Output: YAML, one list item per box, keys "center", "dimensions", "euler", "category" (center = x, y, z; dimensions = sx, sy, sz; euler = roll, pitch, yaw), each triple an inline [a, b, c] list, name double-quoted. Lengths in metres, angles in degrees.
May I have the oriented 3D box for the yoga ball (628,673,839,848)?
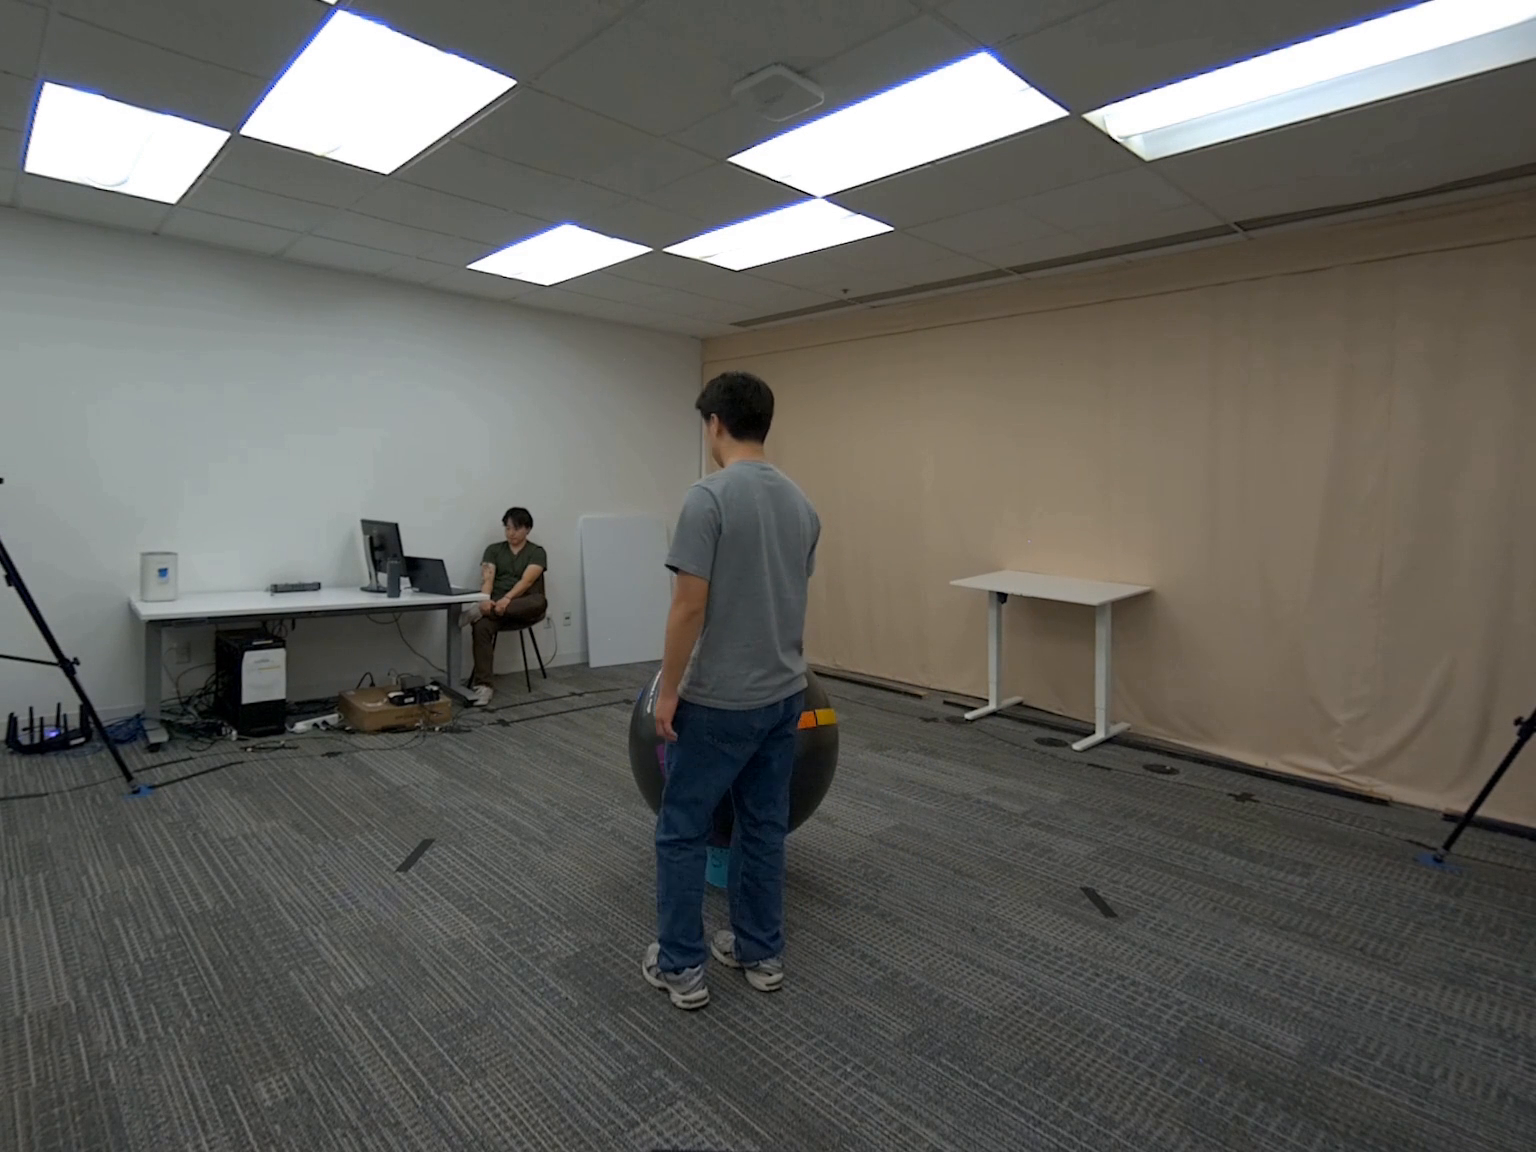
- center: [-0.129, 0.599, 3.068]
  dimensions: [0.757, 0.756, 0.761]
  euler: [1, 4, -1]
  category: "yoga ball"
